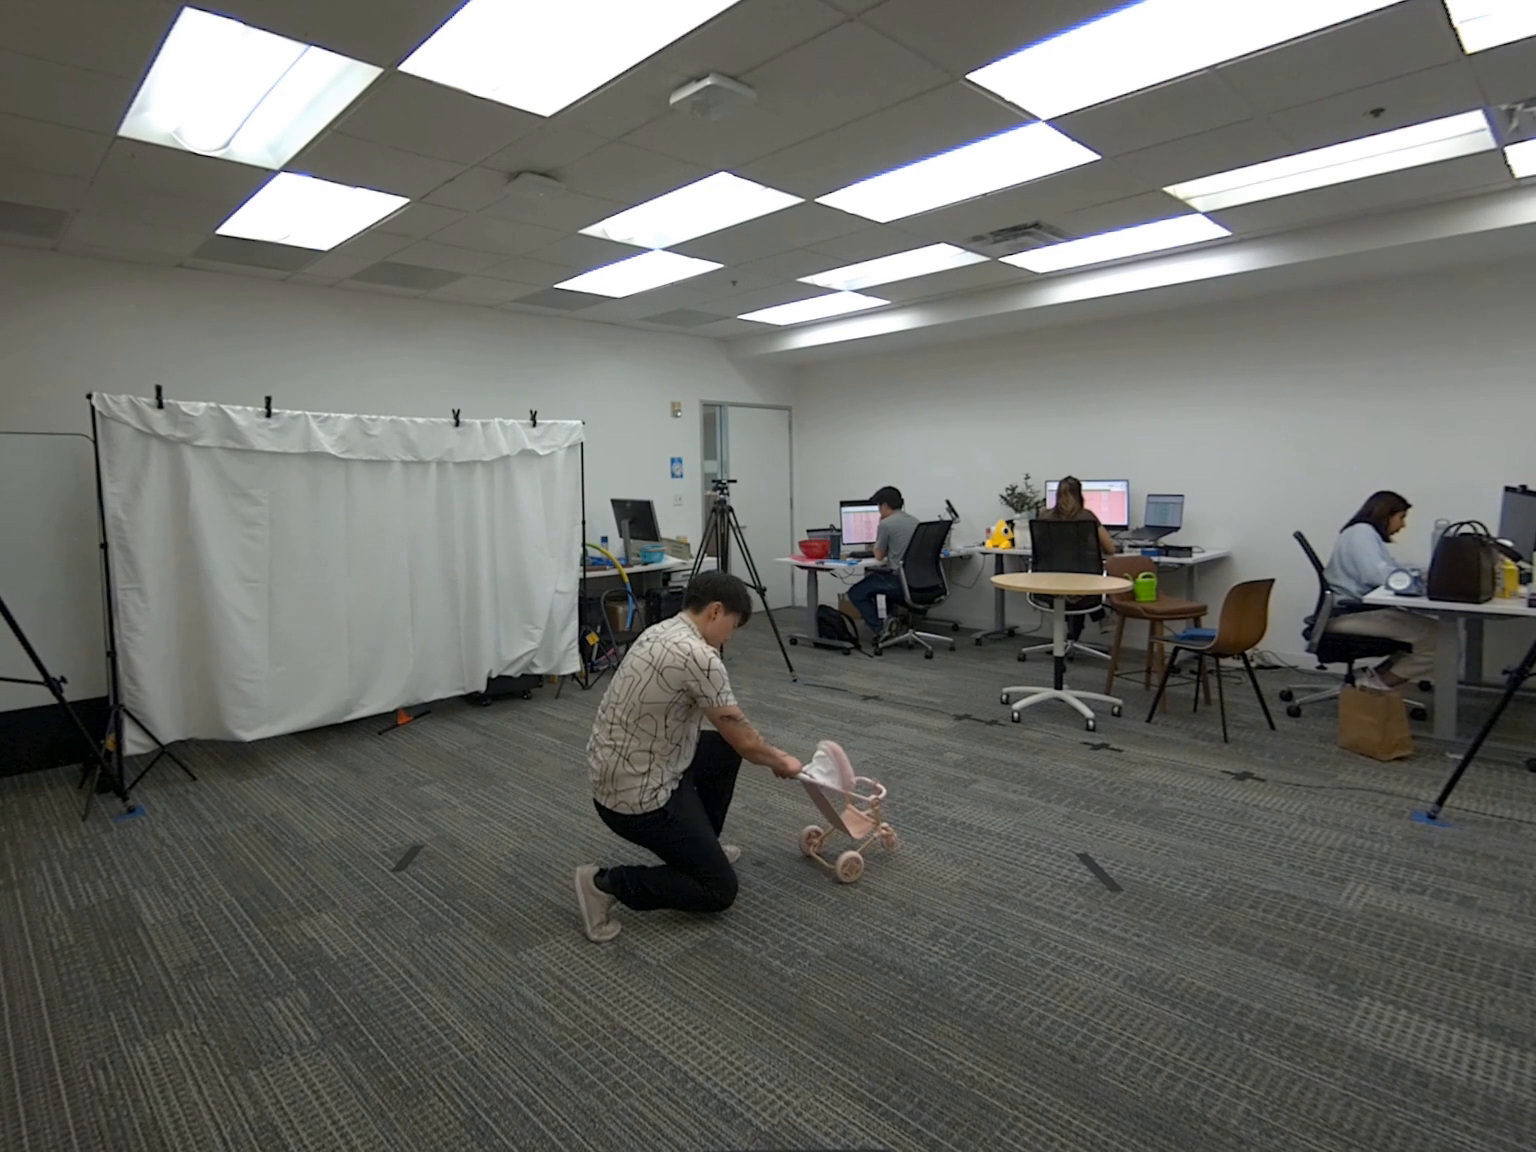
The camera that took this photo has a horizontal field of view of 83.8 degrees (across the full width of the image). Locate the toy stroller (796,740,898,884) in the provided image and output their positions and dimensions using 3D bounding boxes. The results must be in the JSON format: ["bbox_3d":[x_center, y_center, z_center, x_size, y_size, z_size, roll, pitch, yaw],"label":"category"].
[{"bbox_3d":[0.258,0.816,3.068,0.338,0.528,0.288,-24,12,-19],"label":"toy stroller"}]
